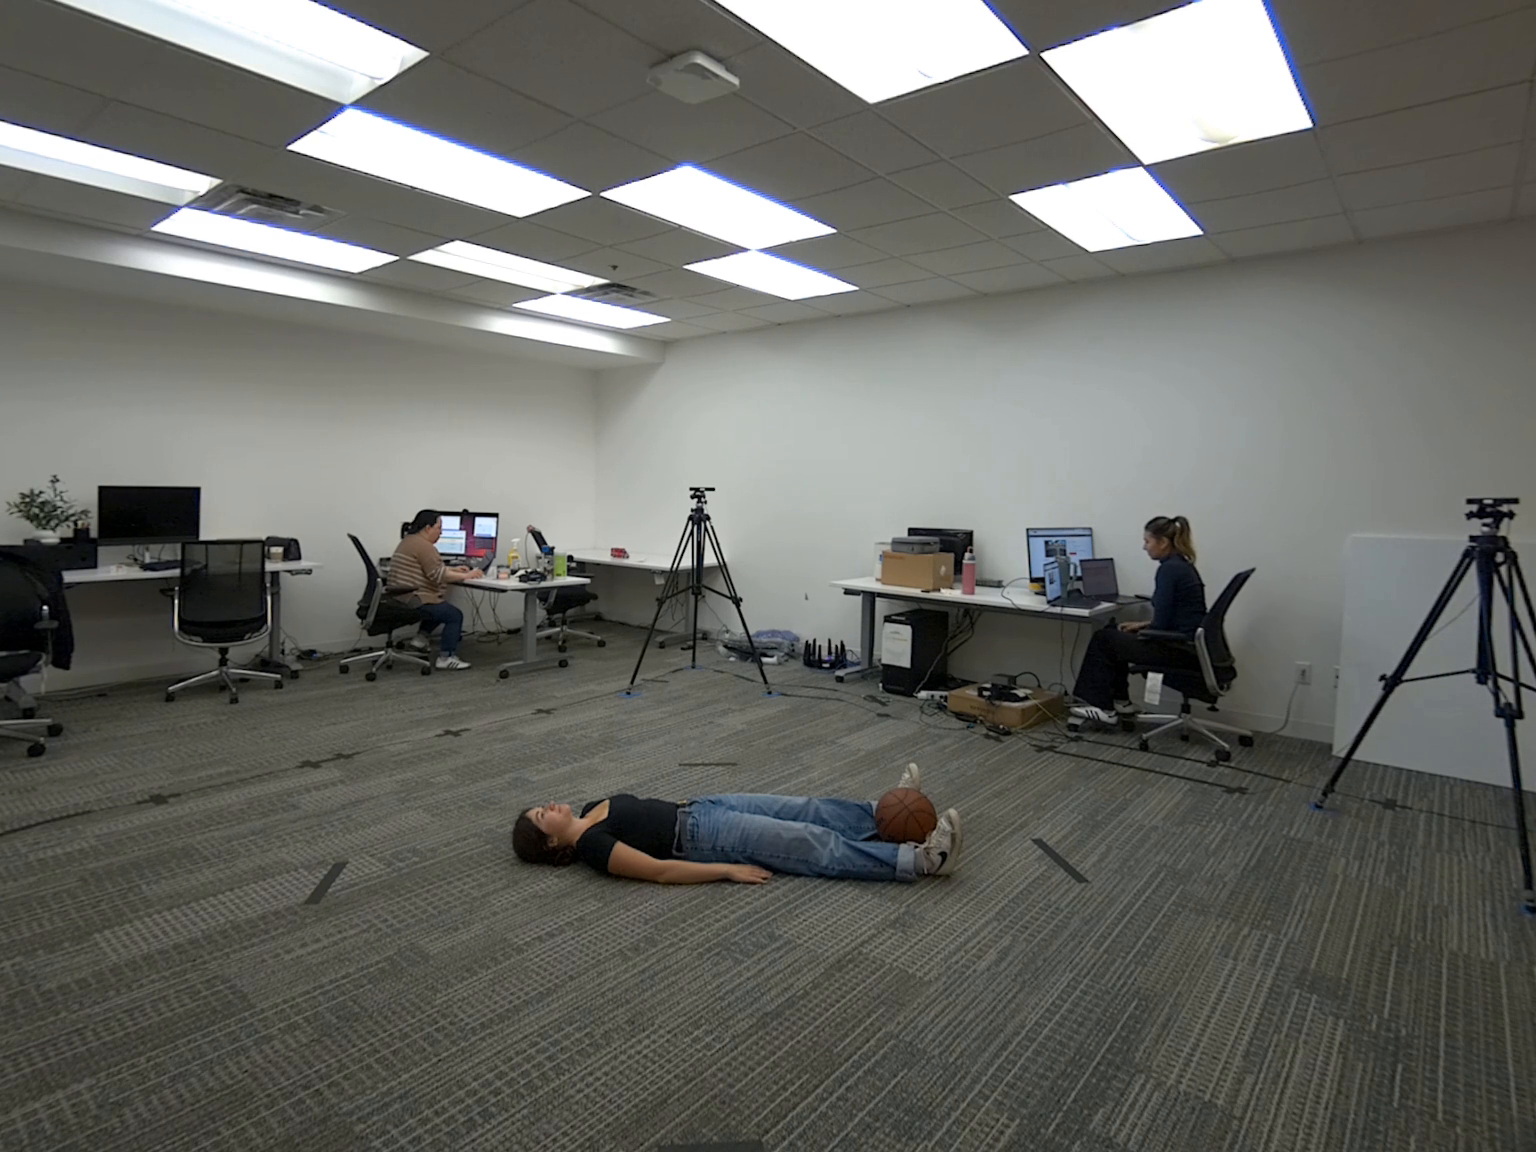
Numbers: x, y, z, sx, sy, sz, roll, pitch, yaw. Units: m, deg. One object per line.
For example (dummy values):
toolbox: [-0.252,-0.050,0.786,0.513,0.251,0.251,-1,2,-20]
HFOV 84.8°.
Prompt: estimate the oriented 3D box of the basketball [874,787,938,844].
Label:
basketball: [0.528,0.938,3.311,0.235,0.235,0.237,1,4,-2]
